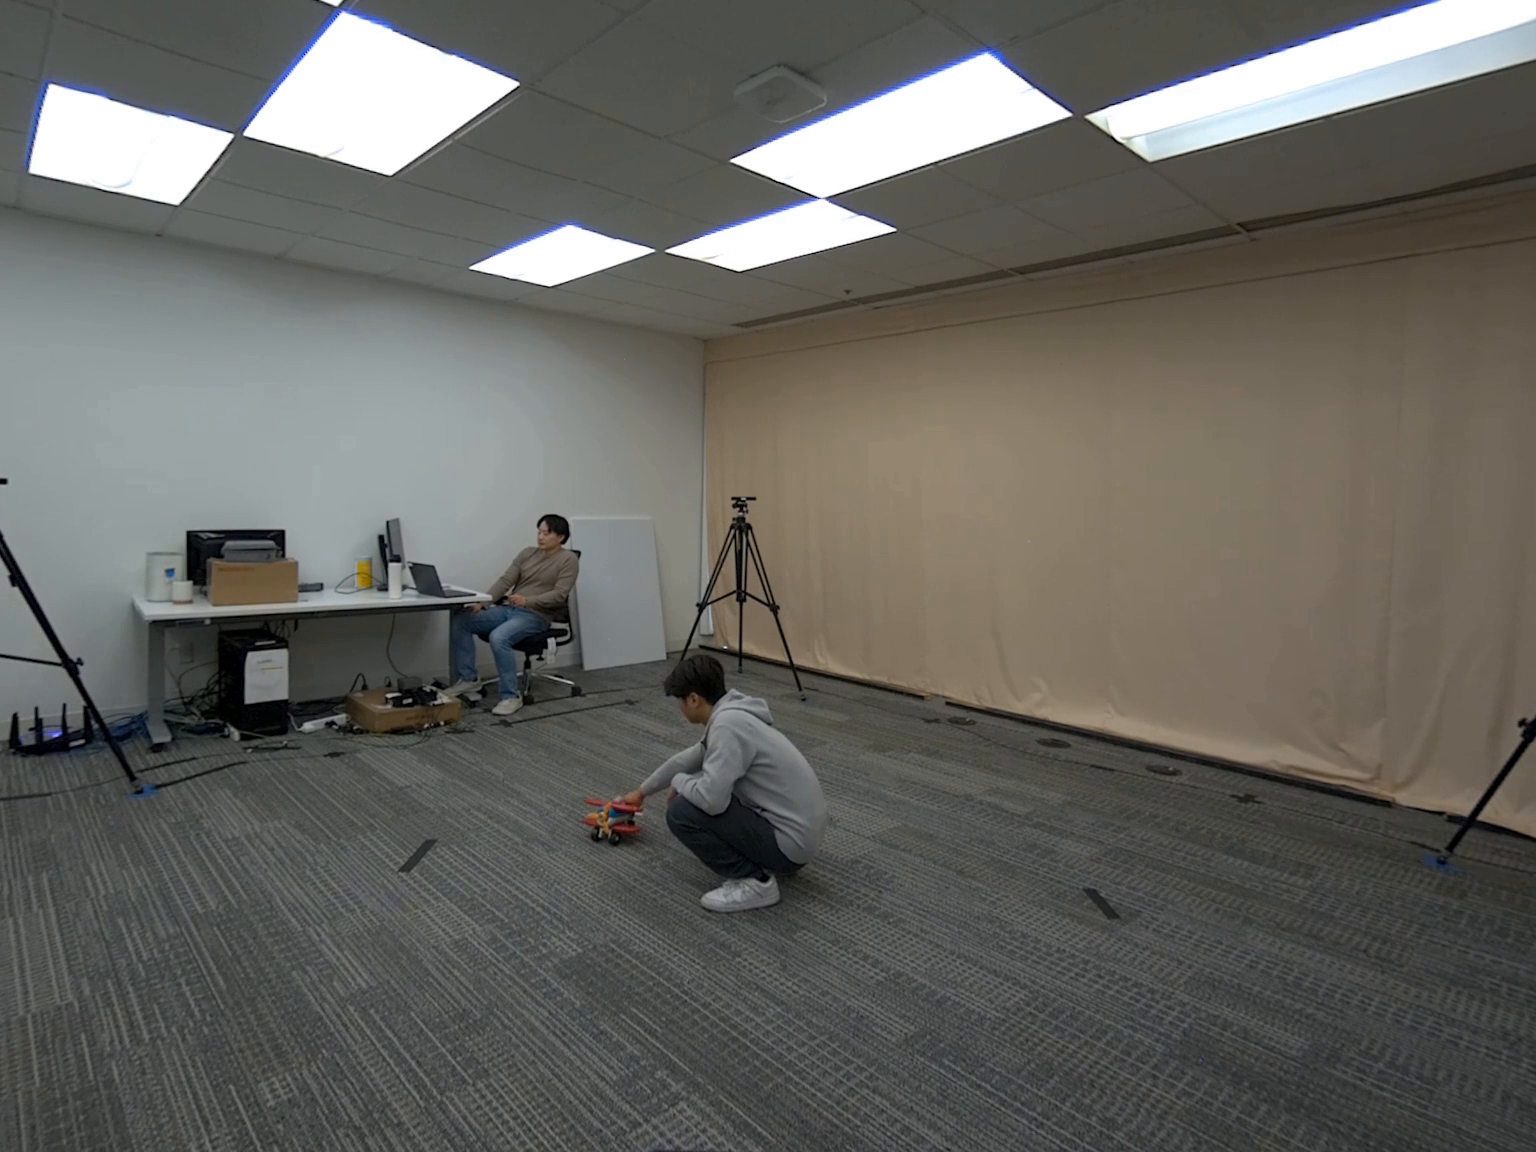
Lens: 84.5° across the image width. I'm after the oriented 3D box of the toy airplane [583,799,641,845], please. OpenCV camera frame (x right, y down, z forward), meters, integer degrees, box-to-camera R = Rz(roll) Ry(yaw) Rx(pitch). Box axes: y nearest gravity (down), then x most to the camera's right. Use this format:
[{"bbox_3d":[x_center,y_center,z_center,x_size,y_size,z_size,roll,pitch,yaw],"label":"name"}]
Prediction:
[{"bbox_3d":[-0.644,0.985,3.457,0.250,0.156,0.261,1,6,-7],"label":"toy airplane"}]
